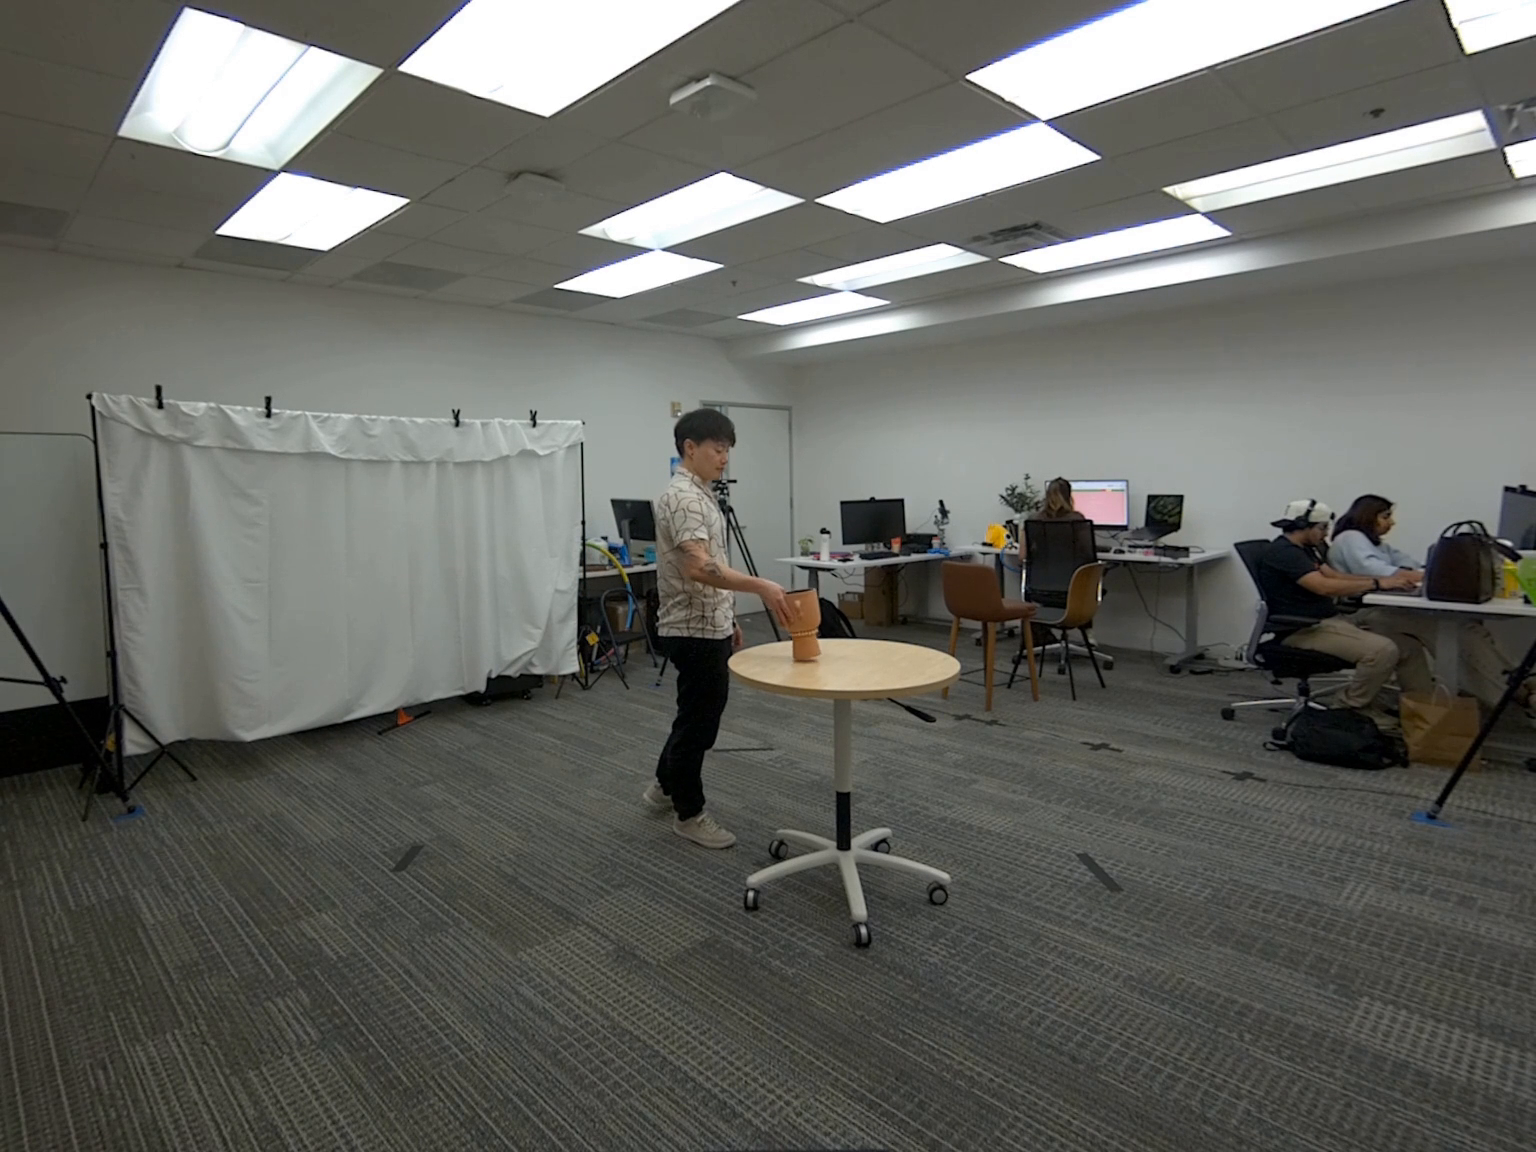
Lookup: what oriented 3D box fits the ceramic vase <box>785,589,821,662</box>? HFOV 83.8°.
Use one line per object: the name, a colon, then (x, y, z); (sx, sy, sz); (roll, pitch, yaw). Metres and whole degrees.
ceramic vase: (0.117, 0.156, 2.881); (0.138, 0.219, 0.155); (-8, 3, 44)
